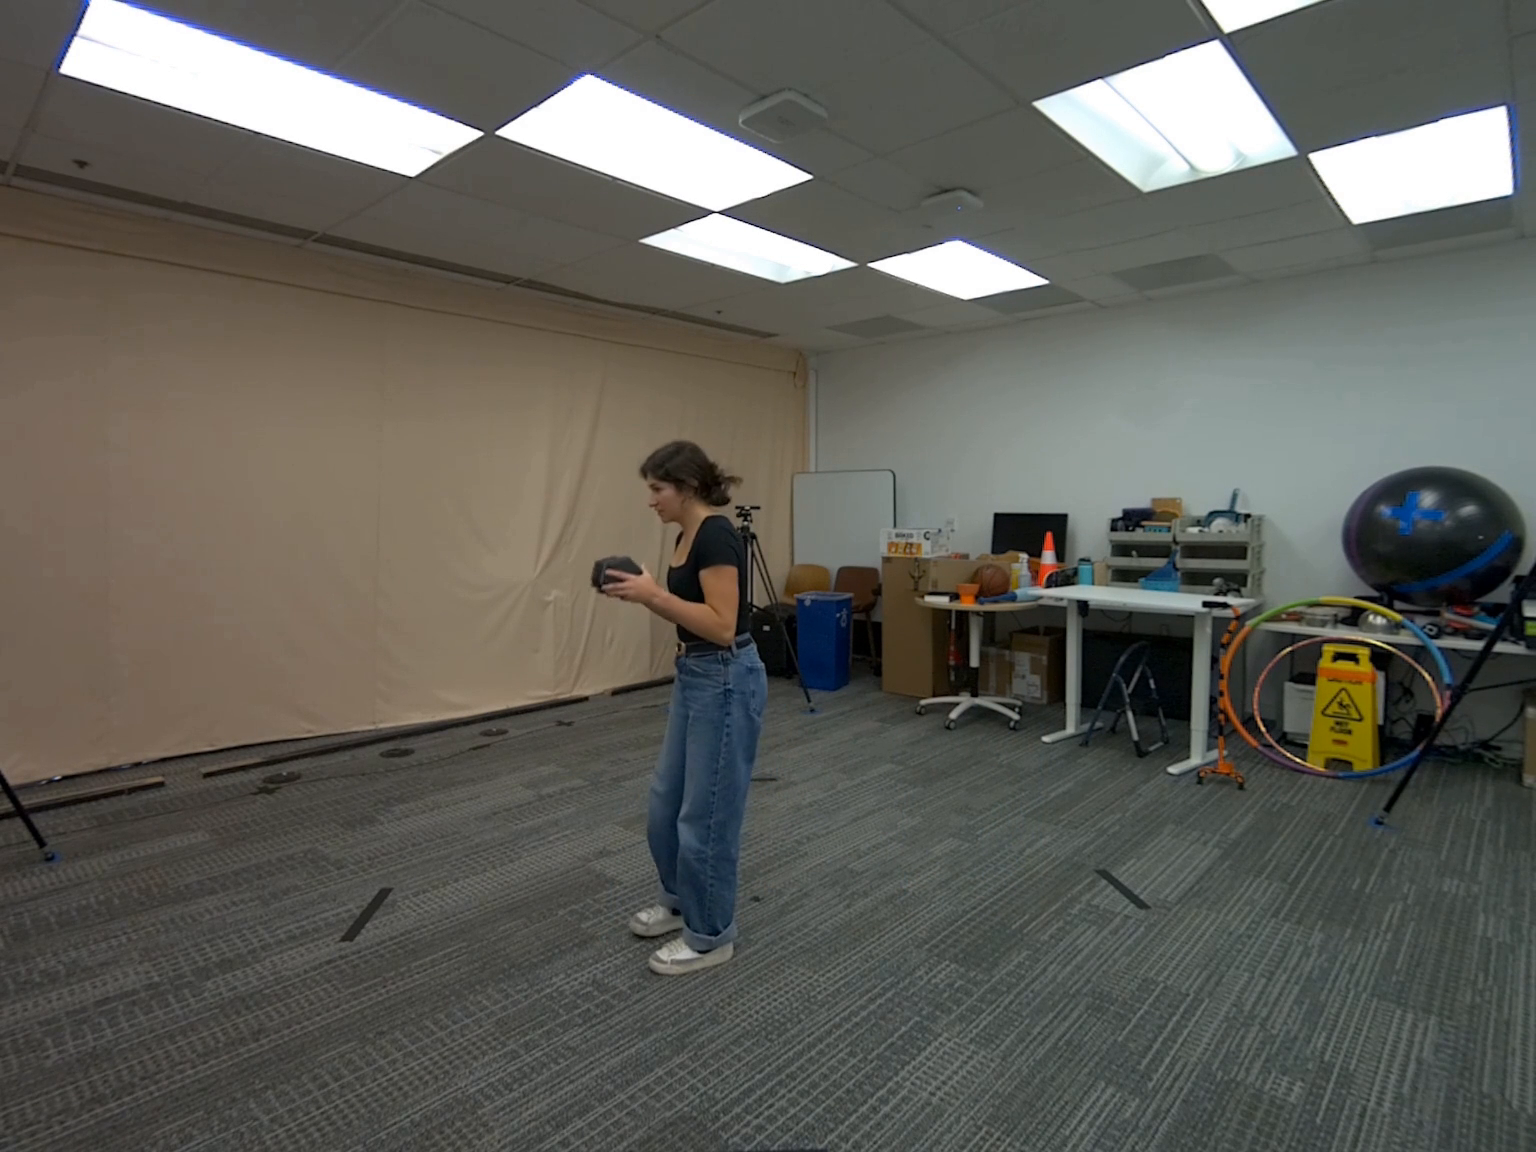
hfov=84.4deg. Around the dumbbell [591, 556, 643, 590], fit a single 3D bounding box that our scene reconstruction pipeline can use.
[{"bbox_3d":[-0.448,0.011,2.537,0.121,0.108,0.299,-17,5,-18],"label":"dumbbell"}]
